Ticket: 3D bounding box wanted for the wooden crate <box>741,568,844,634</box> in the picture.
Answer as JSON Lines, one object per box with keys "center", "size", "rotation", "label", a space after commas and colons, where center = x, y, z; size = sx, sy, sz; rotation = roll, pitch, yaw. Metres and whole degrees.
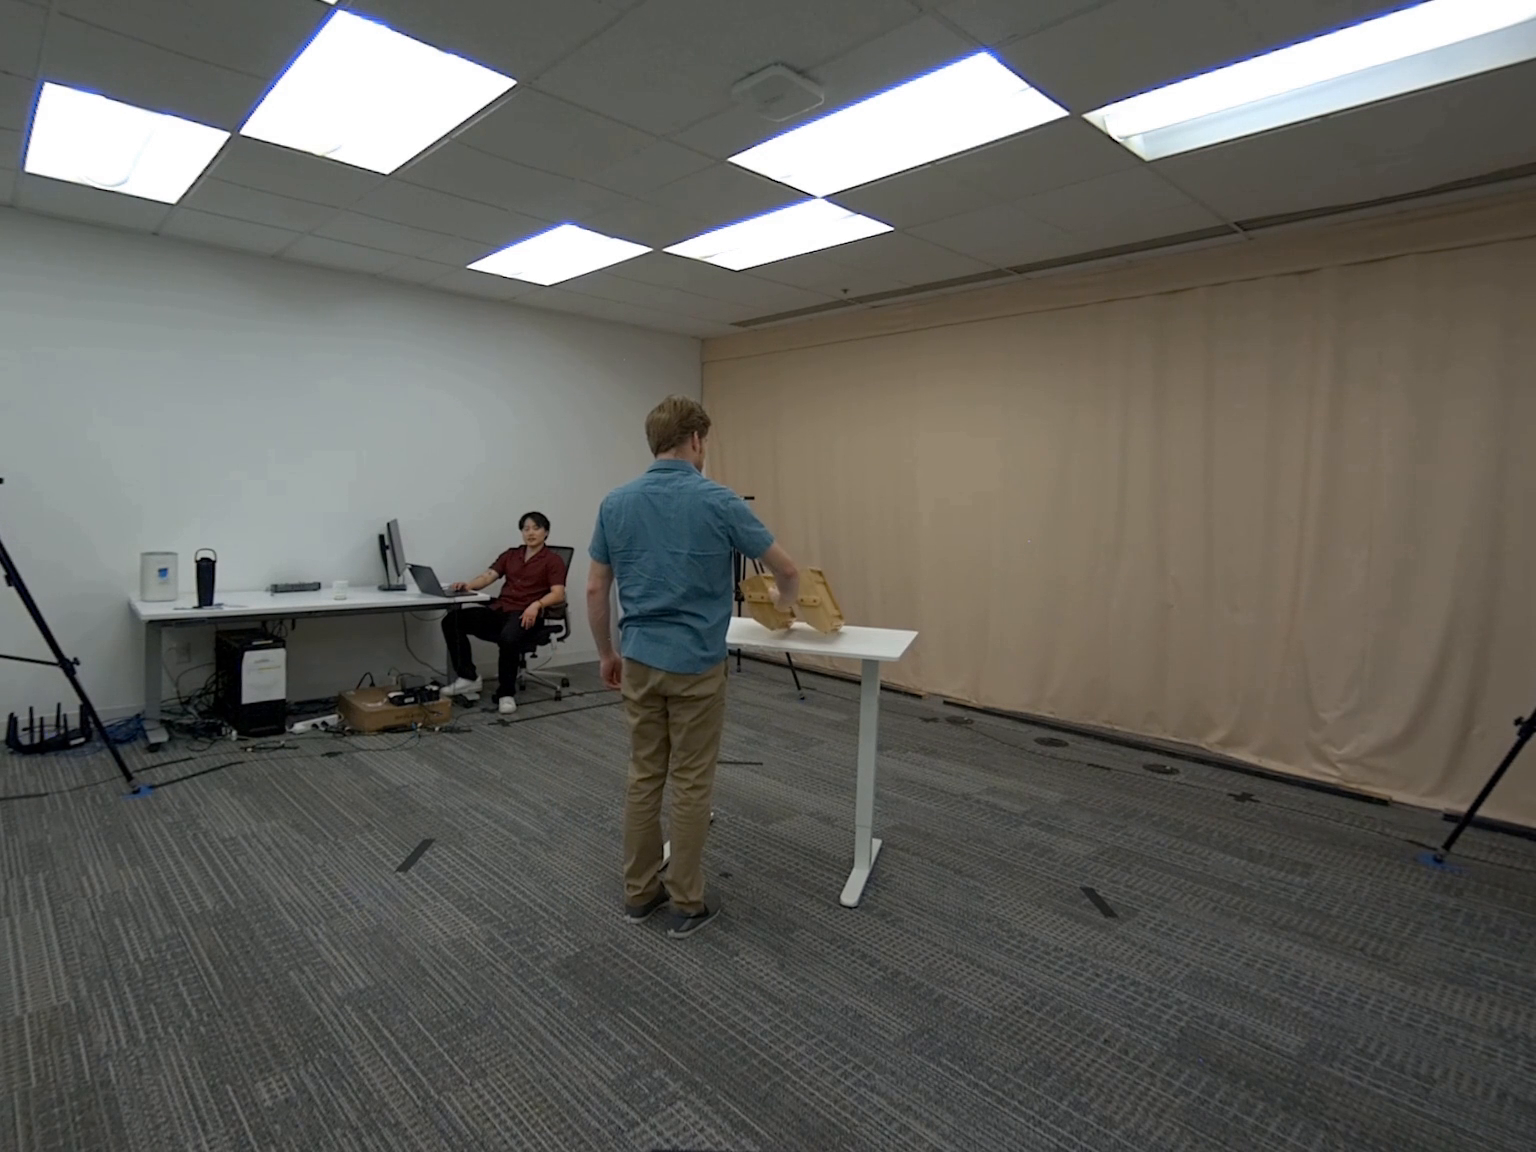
{"center": [0.089, 0.113, 3.182], "size": [0.274, 0.305, 0.320], "rotation": [-25, -9, 12], "label": "wooden crate"}
